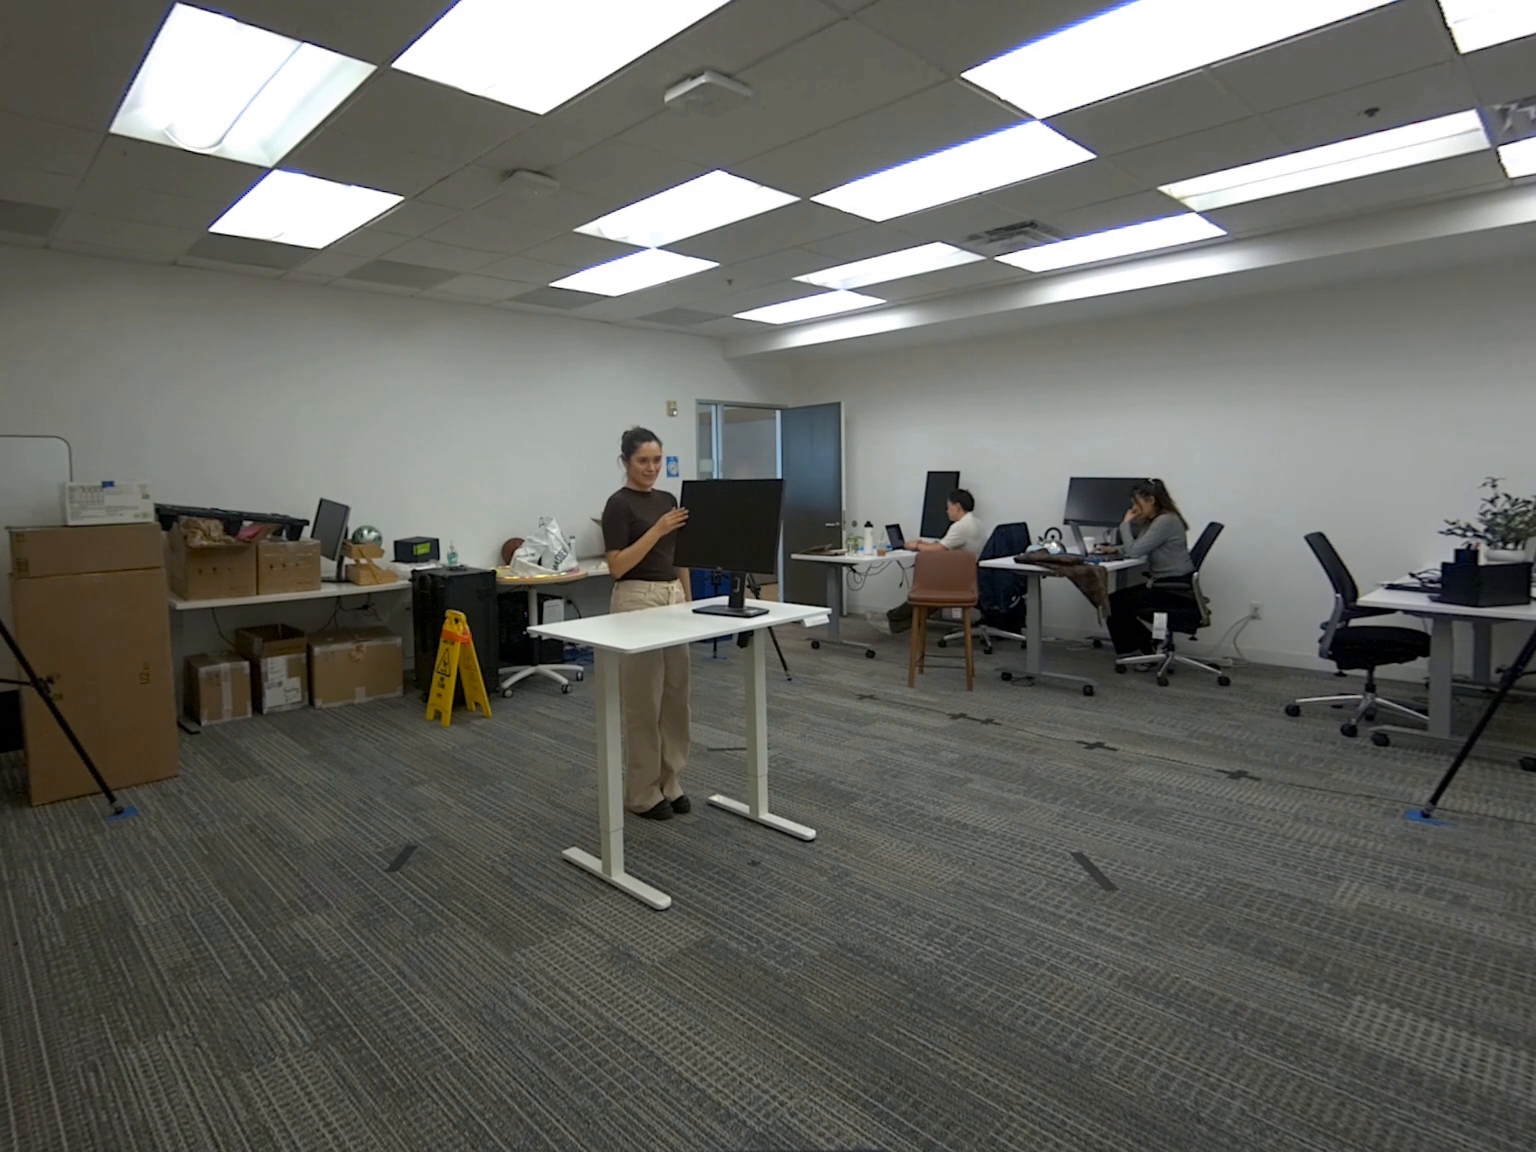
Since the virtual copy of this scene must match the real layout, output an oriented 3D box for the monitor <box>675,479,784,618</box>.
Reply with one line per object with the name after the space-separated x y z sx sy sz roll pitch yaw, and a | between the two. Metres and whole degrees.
-0.139 -0.110 3.280 0.555 0.520 0.182 3 7 44 | monitor
